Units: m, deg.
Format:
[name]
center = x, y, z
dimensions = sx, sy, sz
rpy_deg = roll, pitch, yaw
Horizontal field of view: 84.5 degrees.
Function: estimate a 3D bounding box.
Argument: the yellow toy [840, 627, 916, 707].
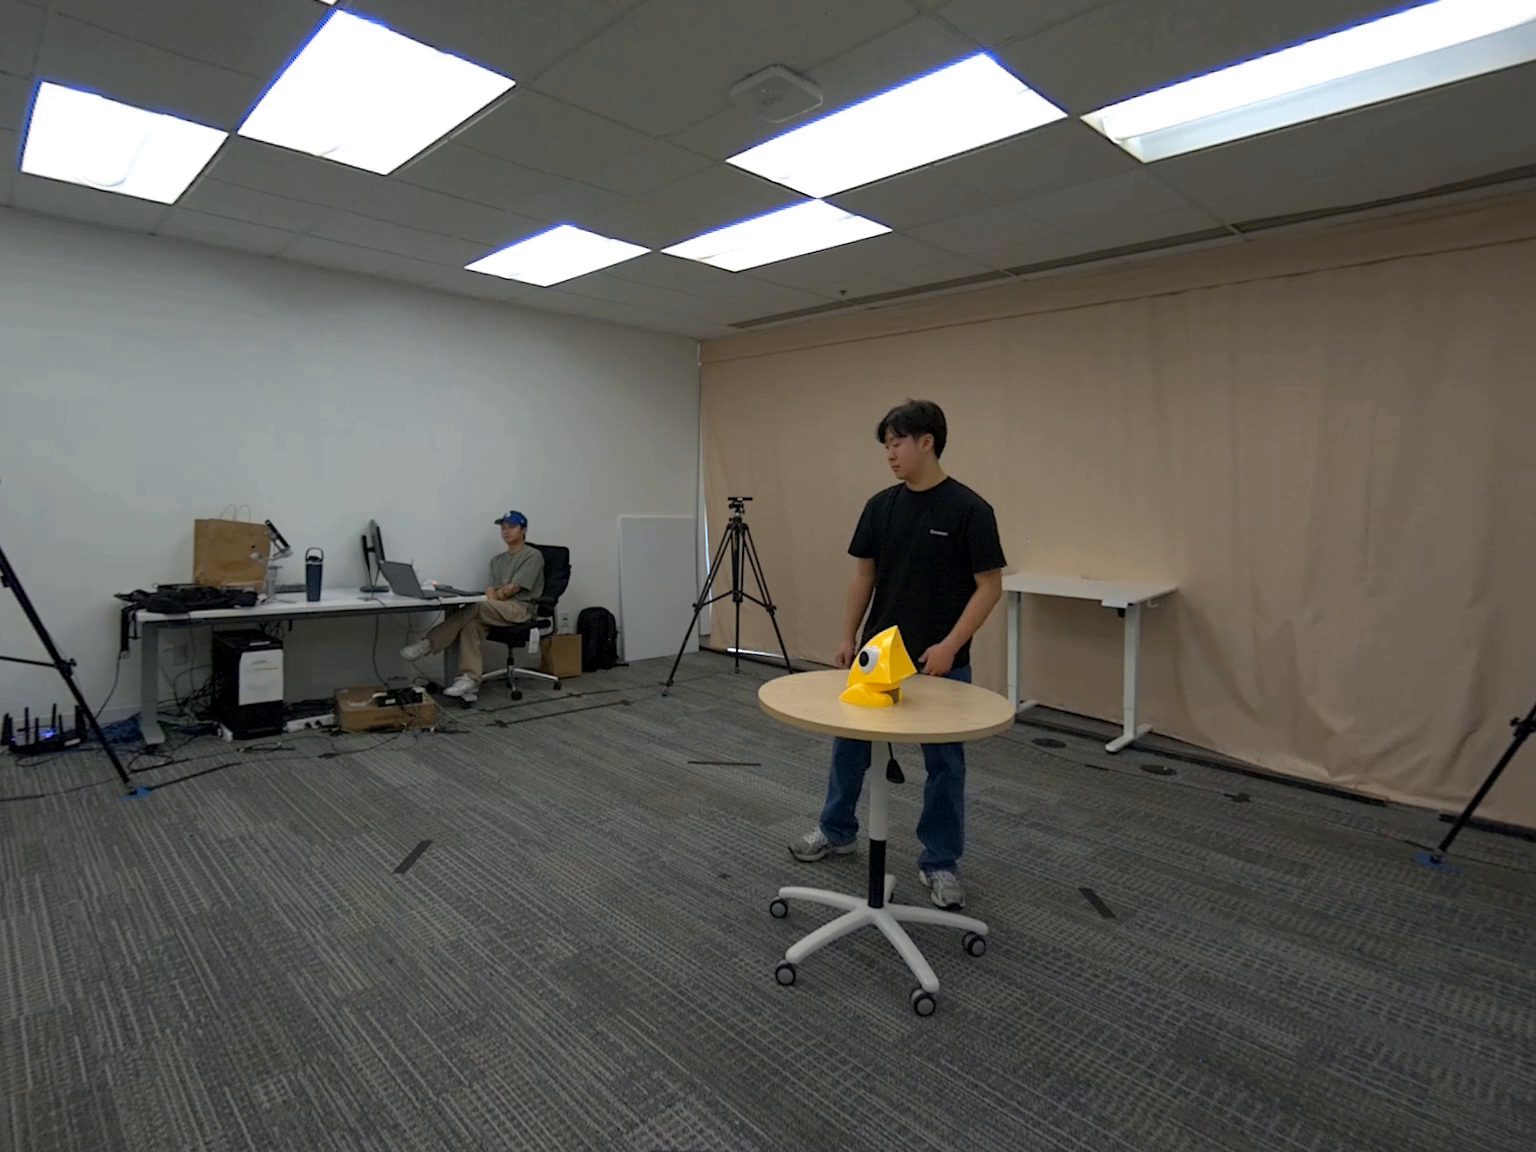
[yellow toy]
center = 0.322, 0.262, 2.537
dimensions = 0.197, 0.230, 0.201
rpy_deg = 4, 5, 31
